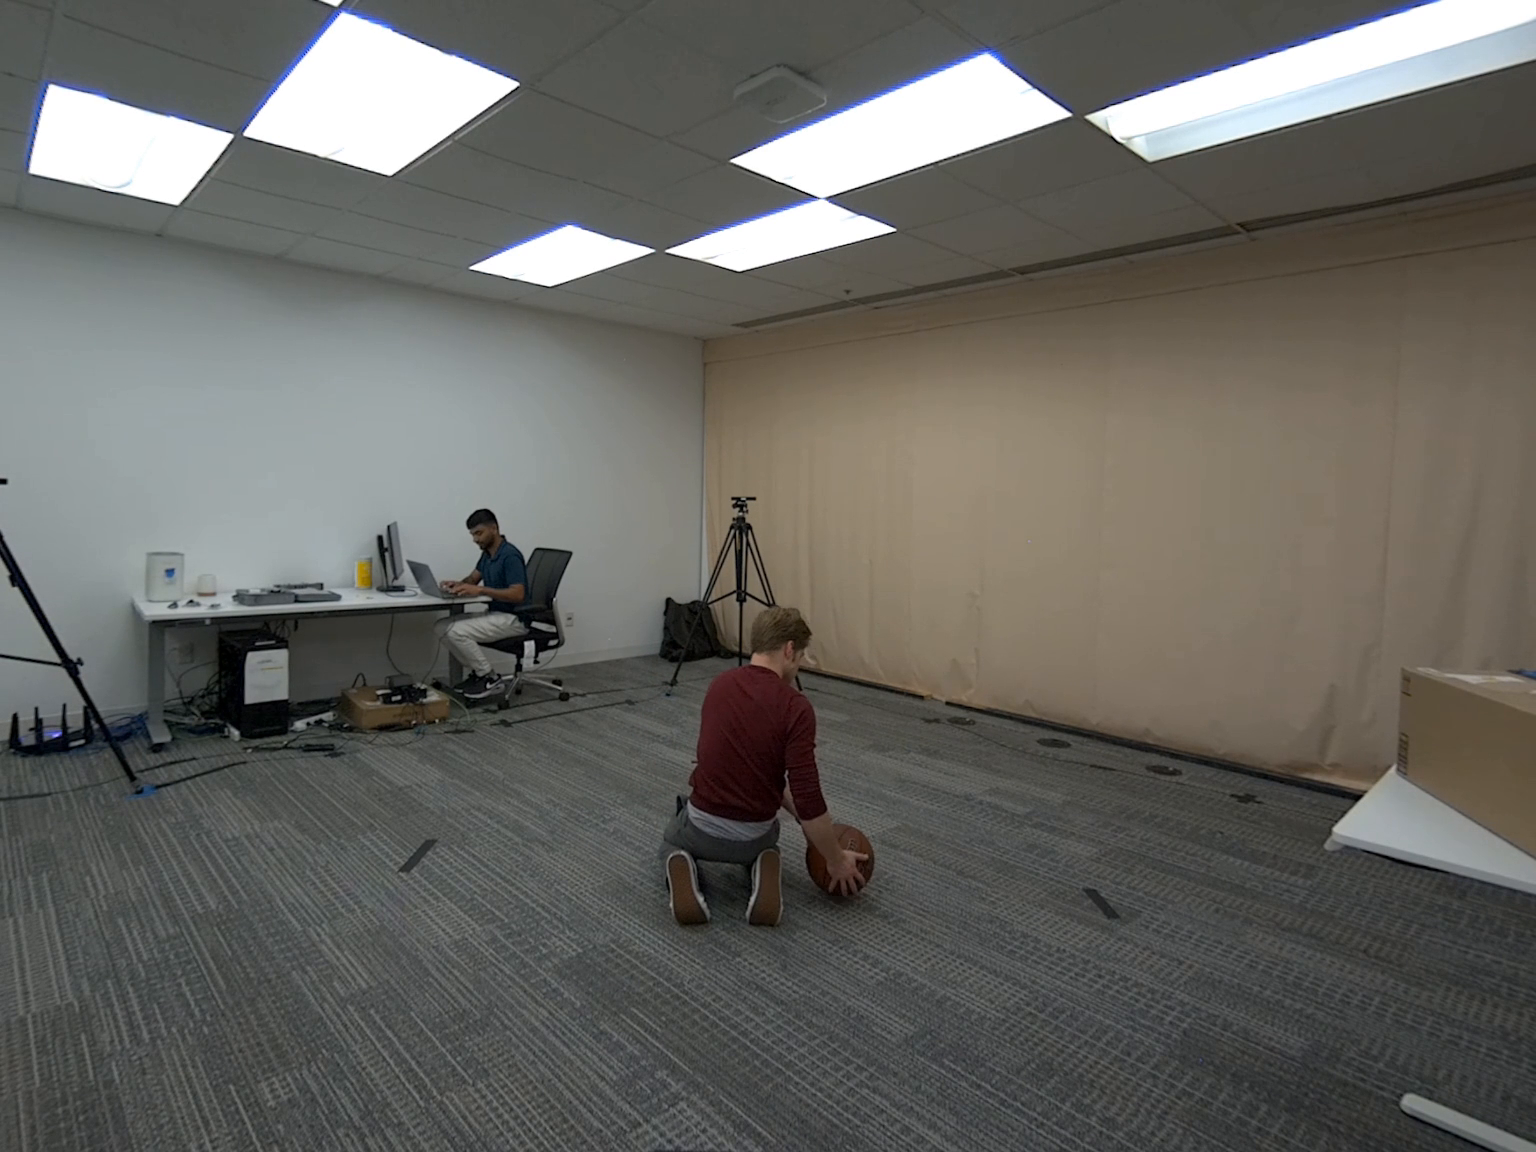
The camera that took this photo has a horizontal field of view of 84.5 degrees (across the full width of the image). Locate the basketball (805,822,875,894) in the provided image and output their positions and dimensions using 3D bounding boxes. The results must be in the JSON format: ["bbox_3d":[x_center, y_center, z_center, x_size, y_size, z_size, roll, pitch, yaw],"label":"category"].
[{"bbox_3d":[0.246,0.980,2.968,0.236,0.235,0.237,1,4,-1],"label":"basketball"}]
